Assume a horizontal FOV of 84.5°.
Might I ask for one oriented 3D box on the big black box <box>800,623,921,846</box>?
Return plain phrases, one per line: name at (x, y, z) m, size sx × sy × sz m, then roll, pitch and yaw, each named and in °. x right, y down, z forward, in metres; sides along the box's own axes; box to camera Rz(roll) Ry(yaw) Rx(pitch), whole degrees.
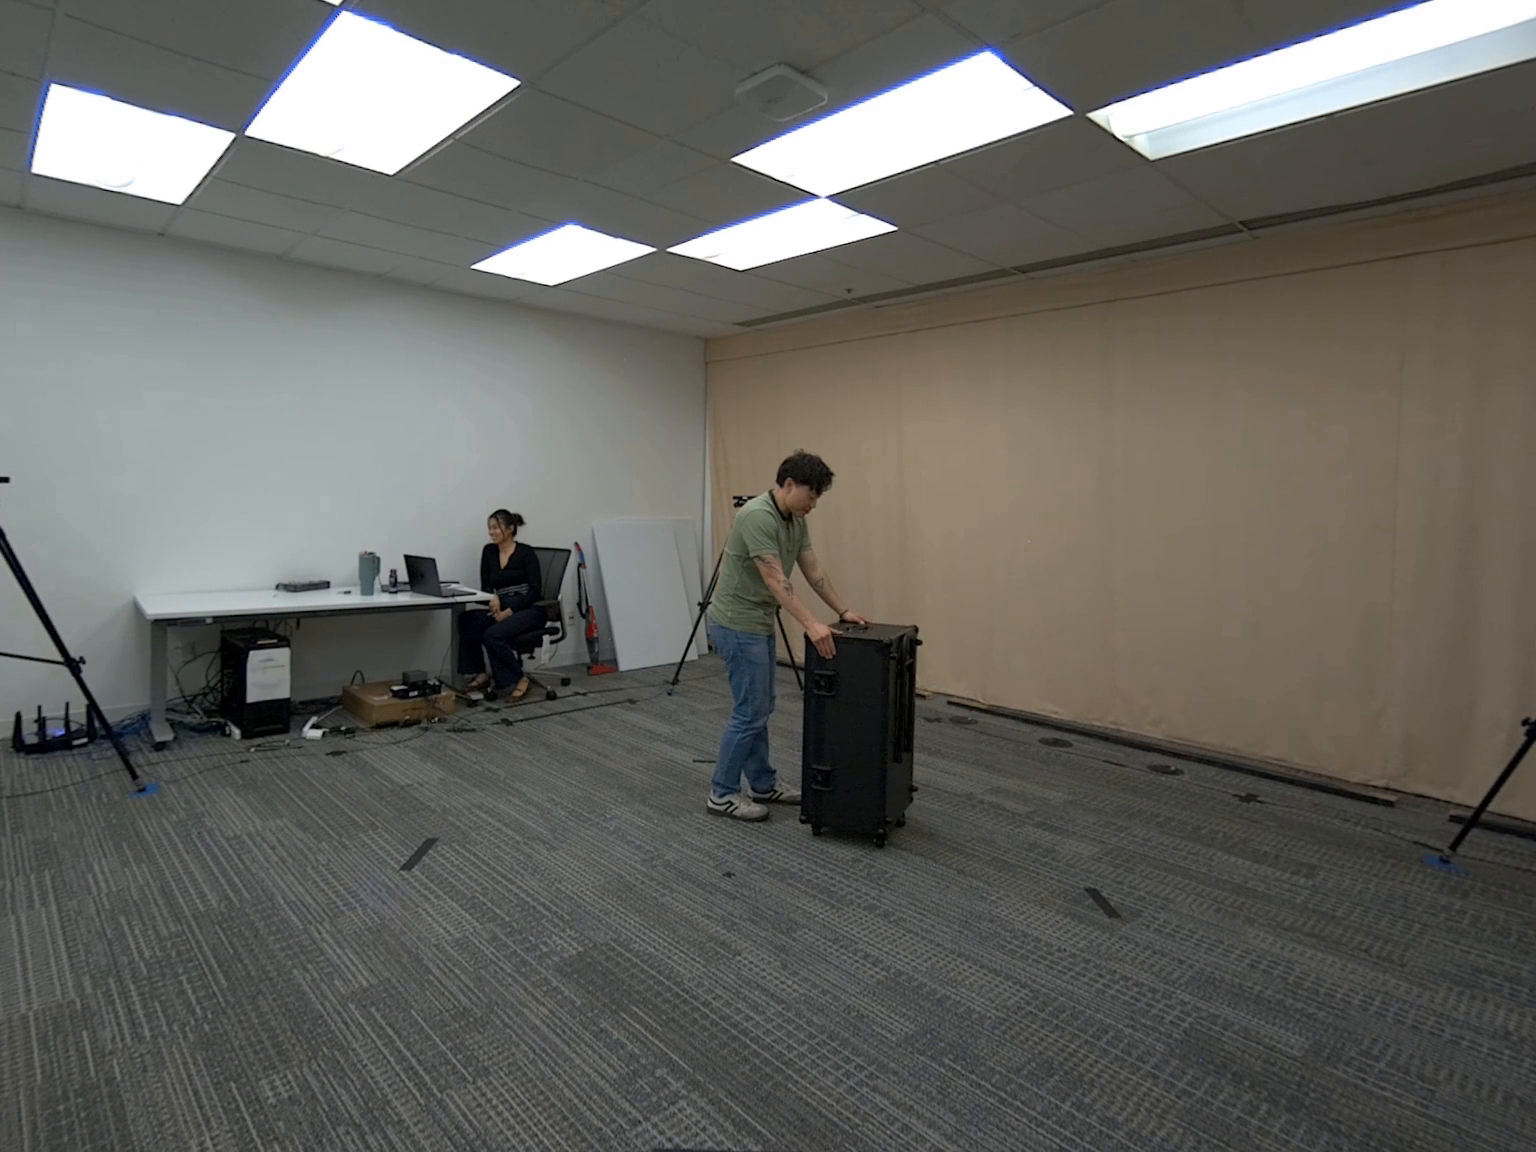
big black box at (0.405, 0.650, 3.563) m, size 0.404 × 0.859 × 0.512 m, roll 4°, pitch 3°, yaw 25°
